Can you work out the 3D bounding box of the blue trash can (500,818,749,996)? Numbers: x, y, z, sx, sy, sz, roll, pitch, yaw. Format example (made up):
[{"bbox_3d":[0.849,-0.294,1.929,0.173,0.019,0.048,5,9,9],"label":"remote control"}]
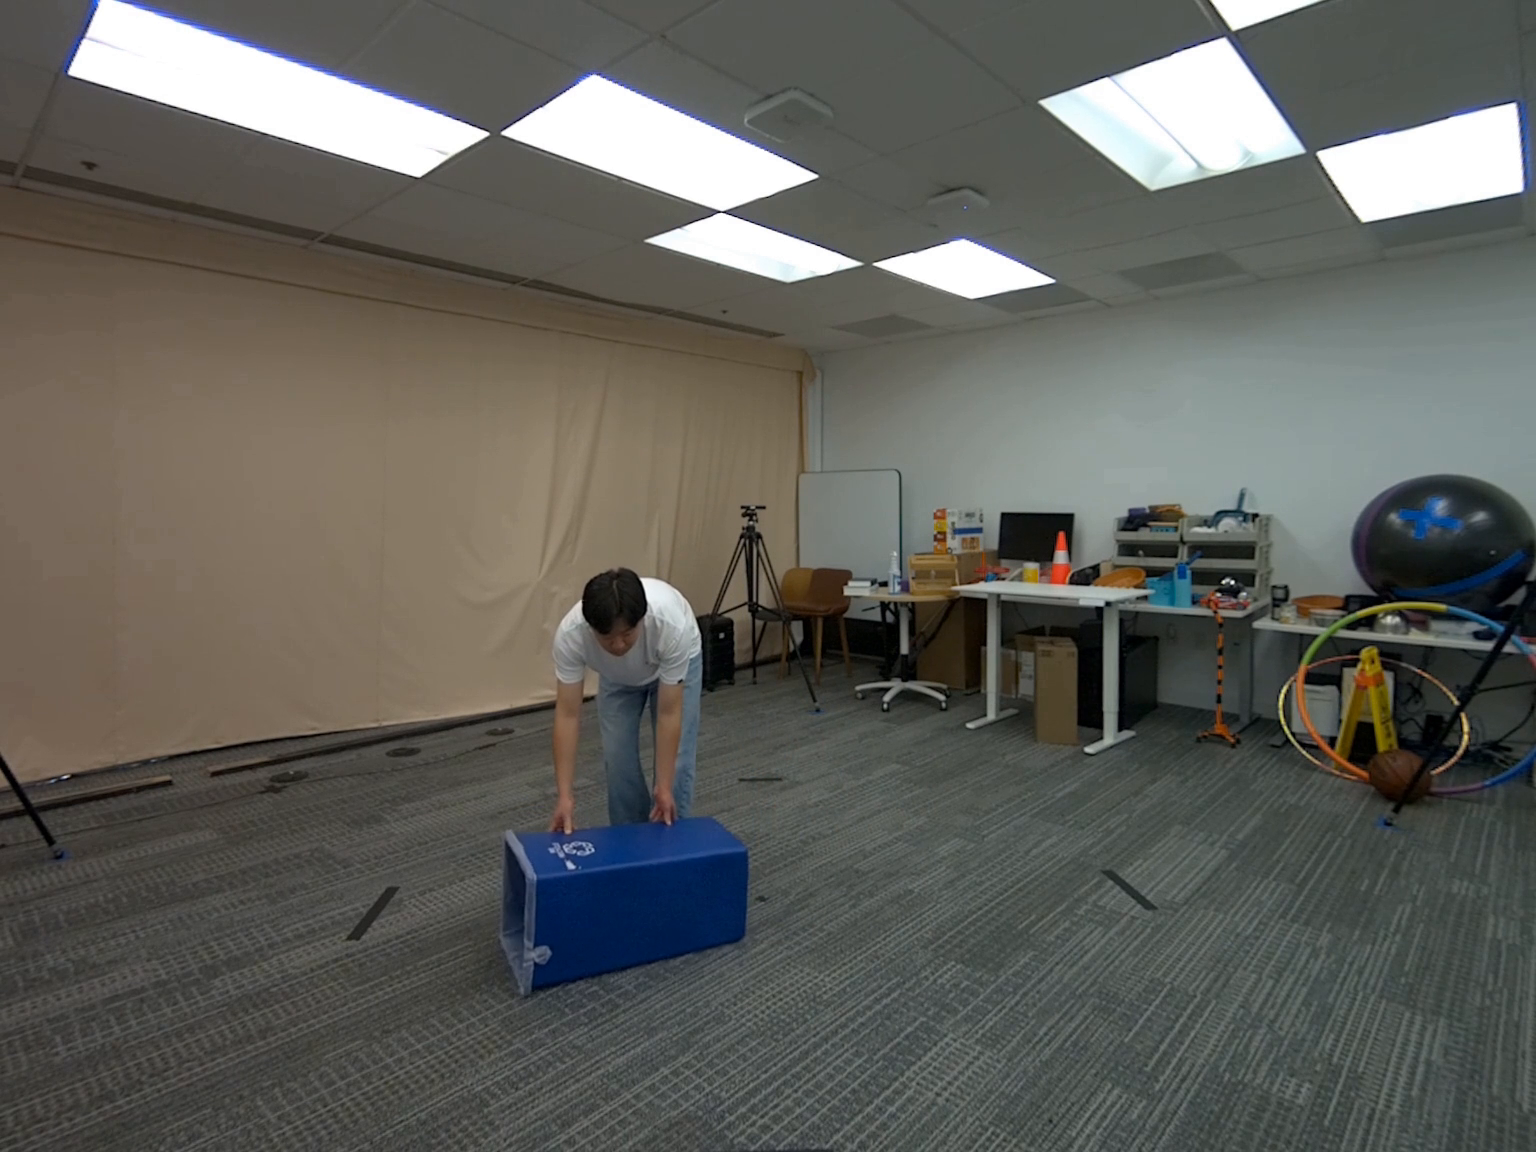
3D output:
[{"bbox_3d":[-0.448,1.005,2.674,0.696,0.377,0.384,1,3,-26],"label":"blue trash can"}]
